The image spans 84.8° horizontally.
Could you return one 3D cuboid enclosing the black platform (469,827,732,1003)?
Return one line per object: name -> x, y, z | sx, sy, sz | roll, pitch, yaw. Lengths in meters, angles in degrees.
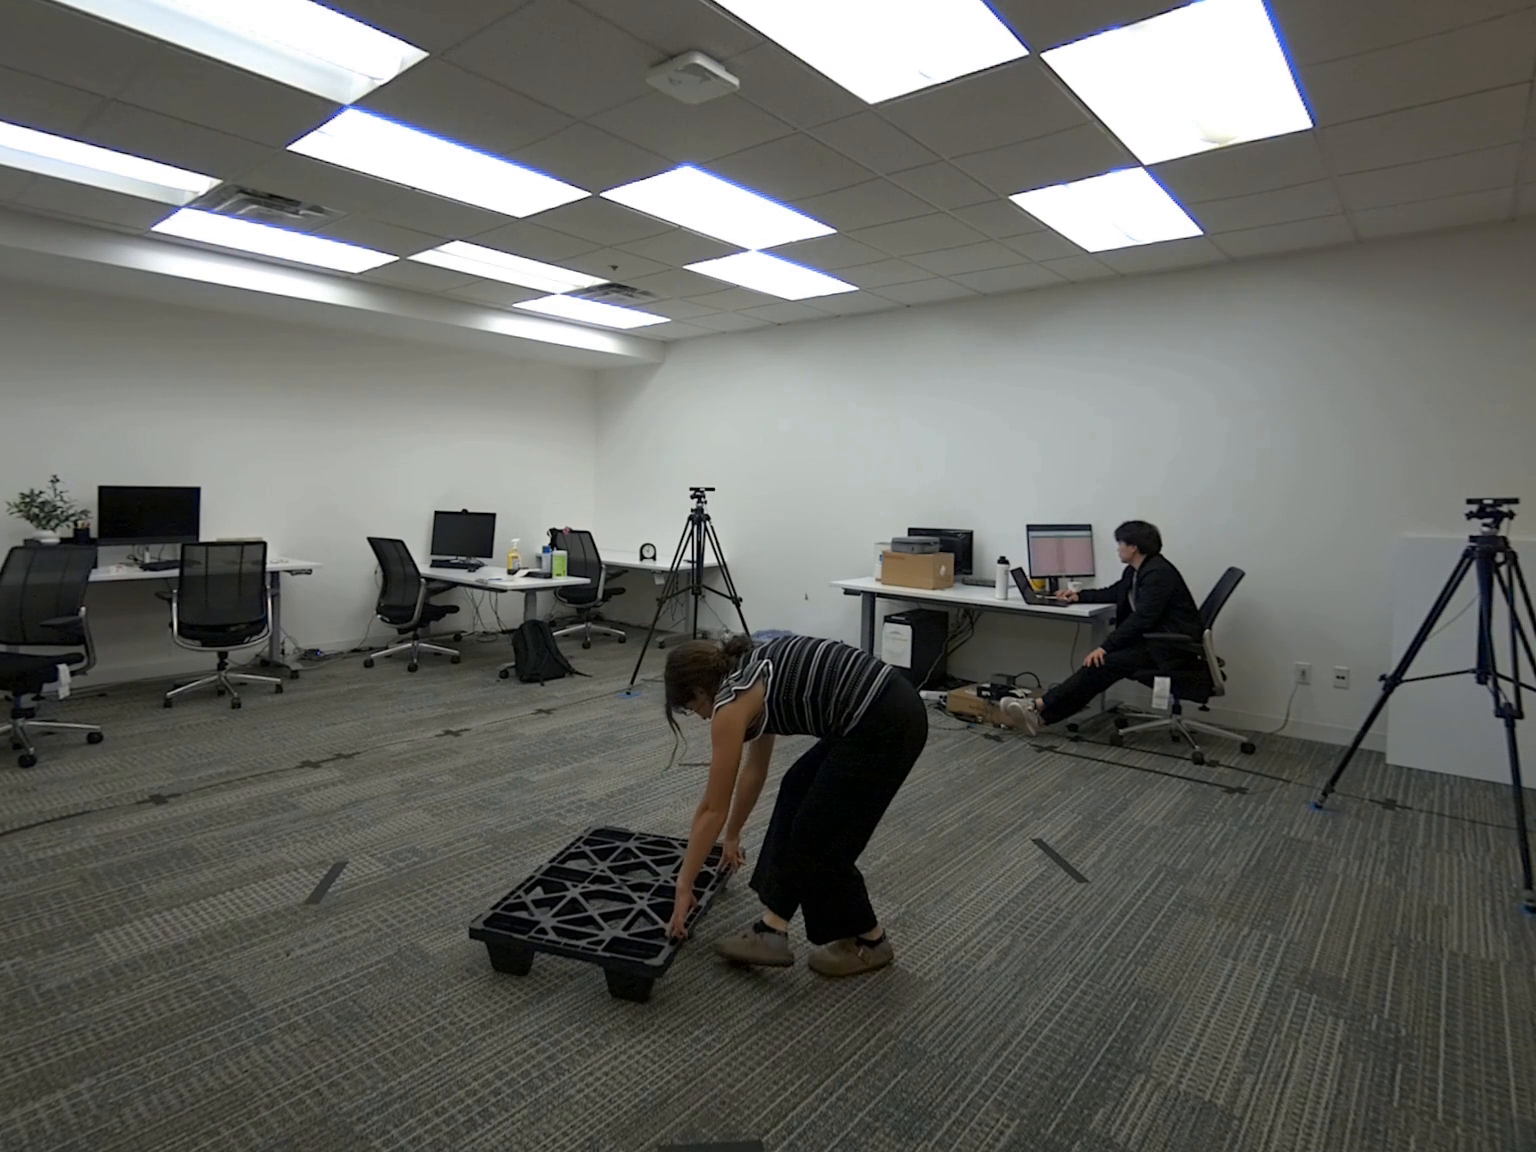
black platform -> -0.477, 1.030, 2.696 | 0.616, 0.143, 0.794 | 2, 5, 16
